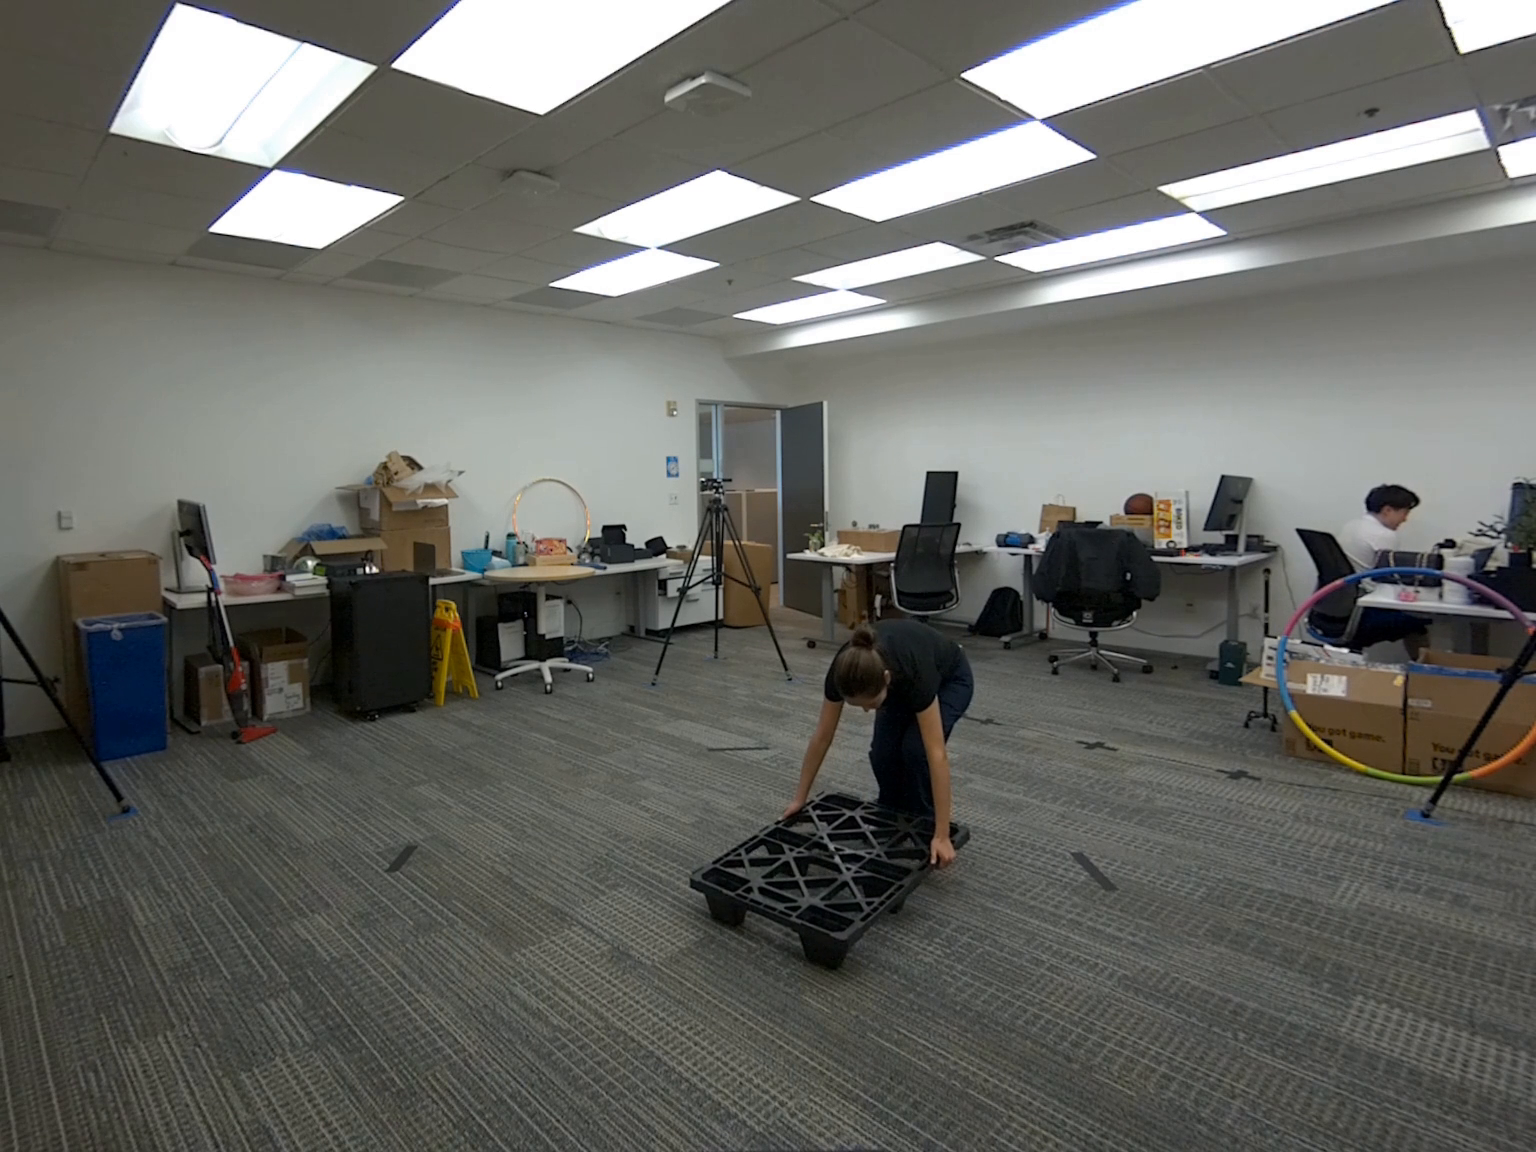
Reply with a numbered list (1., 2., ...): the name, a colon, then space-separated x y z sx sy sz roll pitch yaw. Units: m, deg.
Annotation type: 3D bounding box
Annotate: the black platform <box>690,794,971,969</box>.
1. black platform: 0.230 0.977 2.855 0.624 0.142 0.788 5 13 39
